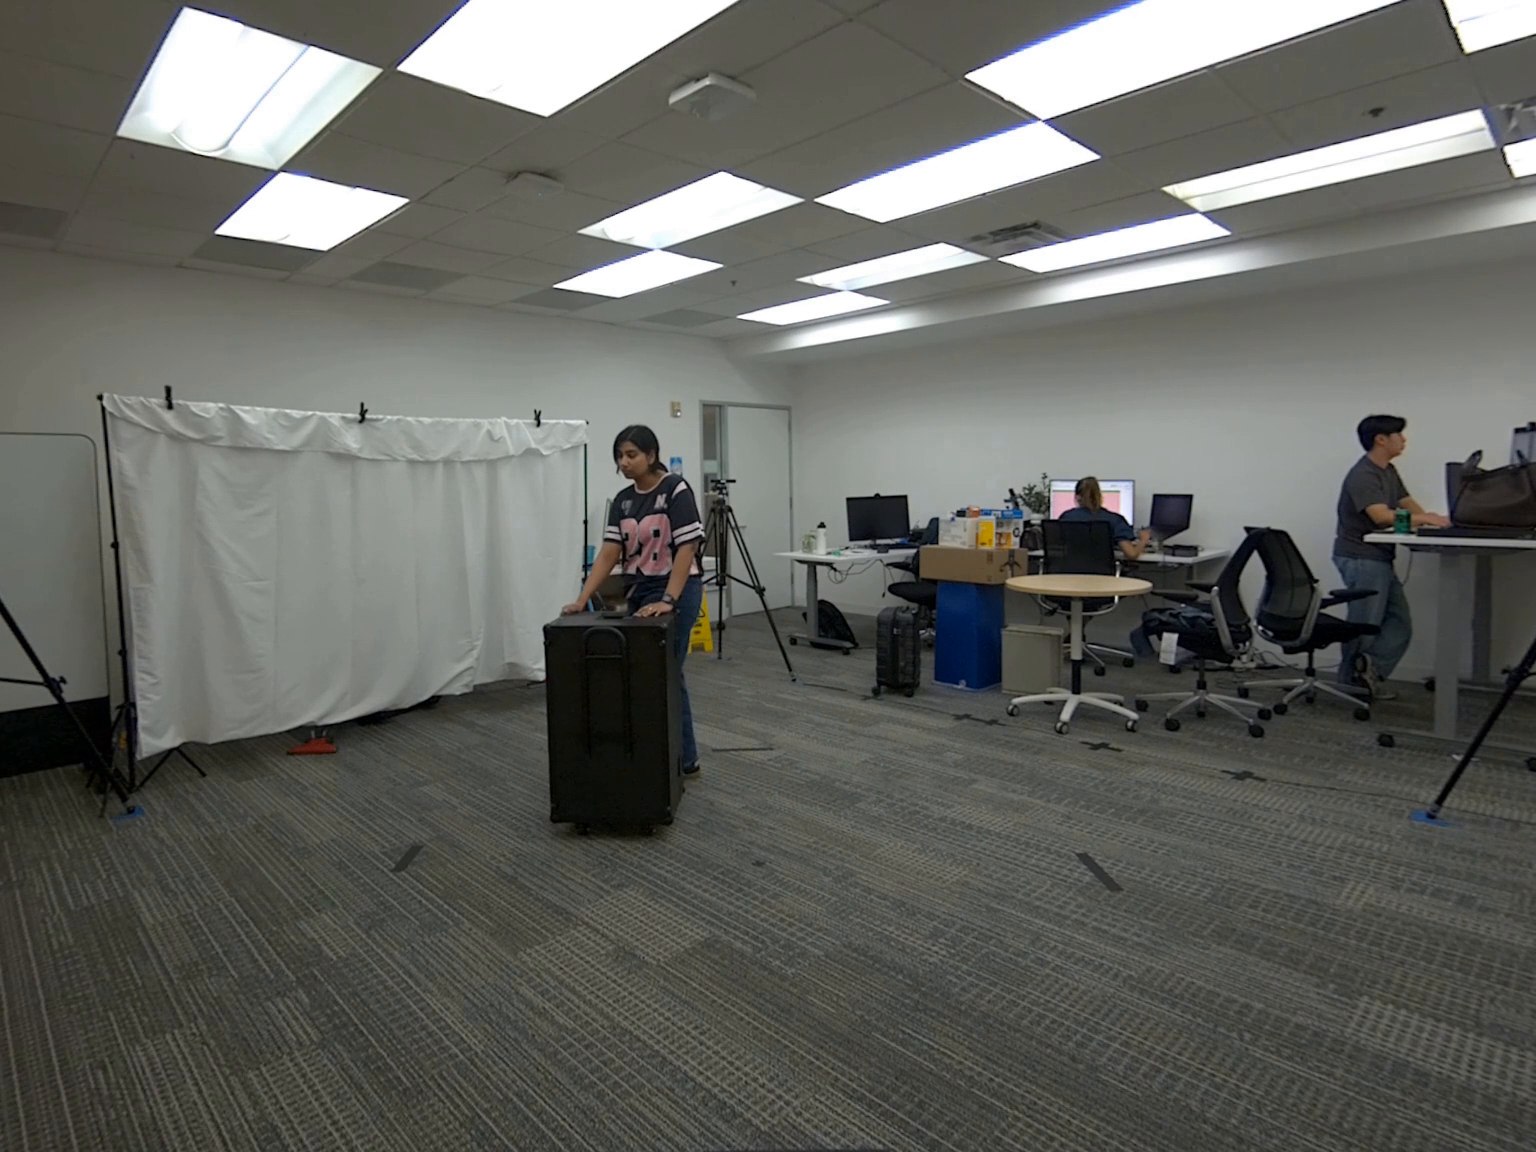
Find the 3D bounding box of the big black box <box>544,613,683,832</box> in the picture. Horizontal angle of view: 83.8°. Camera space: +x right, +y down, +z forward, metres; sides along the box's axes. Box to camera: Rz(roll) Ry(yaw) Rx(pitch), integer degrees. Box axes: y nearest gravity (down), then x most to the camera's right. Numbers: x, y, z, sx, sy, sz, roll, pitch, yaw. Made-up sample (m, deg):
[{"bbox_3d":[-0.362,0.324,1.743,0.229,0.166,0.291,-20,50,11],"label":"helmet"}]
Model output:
[{"bbox_3d":[-0.609,0.597,3.473,0.526,0.865,0.385,-1,4,4],"label":"big black box"}]
